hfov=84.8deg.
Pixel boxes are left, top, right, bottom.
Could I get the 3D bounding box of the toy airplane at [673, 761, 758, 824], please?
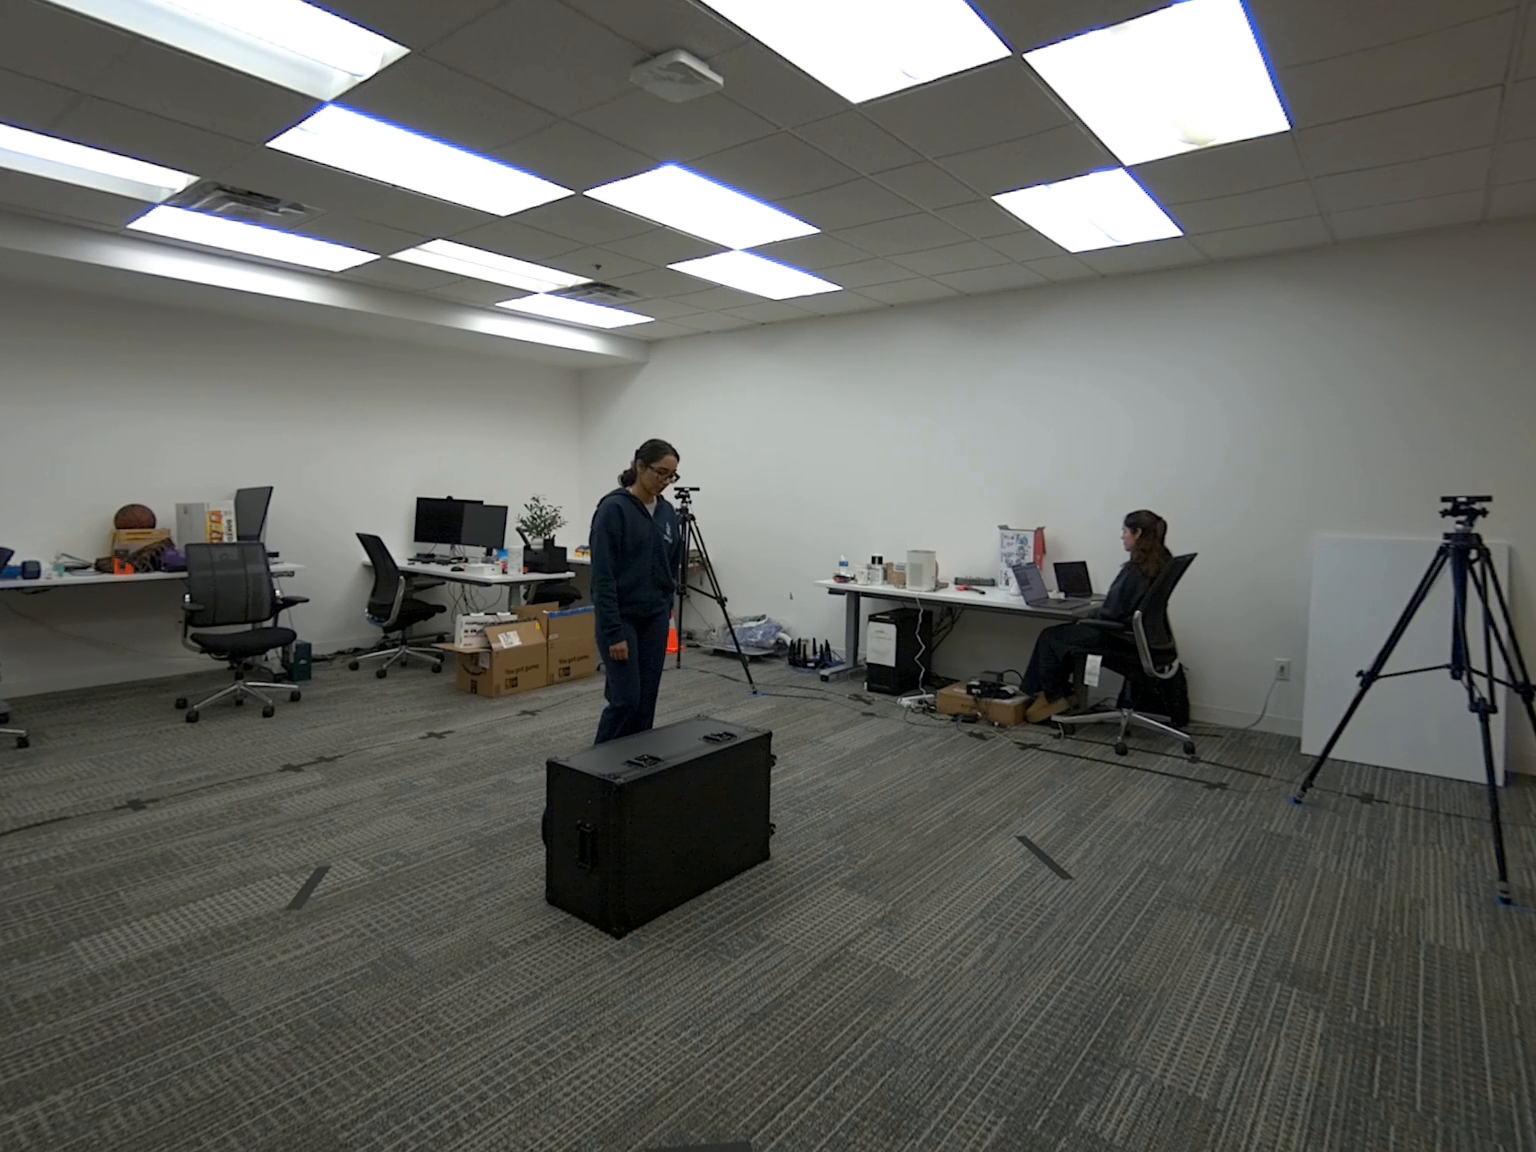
[{"bbox_3d":[-0.232,0.933,3.654,0.251,0.156,0.259,0,5,-35],"label":"toy airplane"}]
